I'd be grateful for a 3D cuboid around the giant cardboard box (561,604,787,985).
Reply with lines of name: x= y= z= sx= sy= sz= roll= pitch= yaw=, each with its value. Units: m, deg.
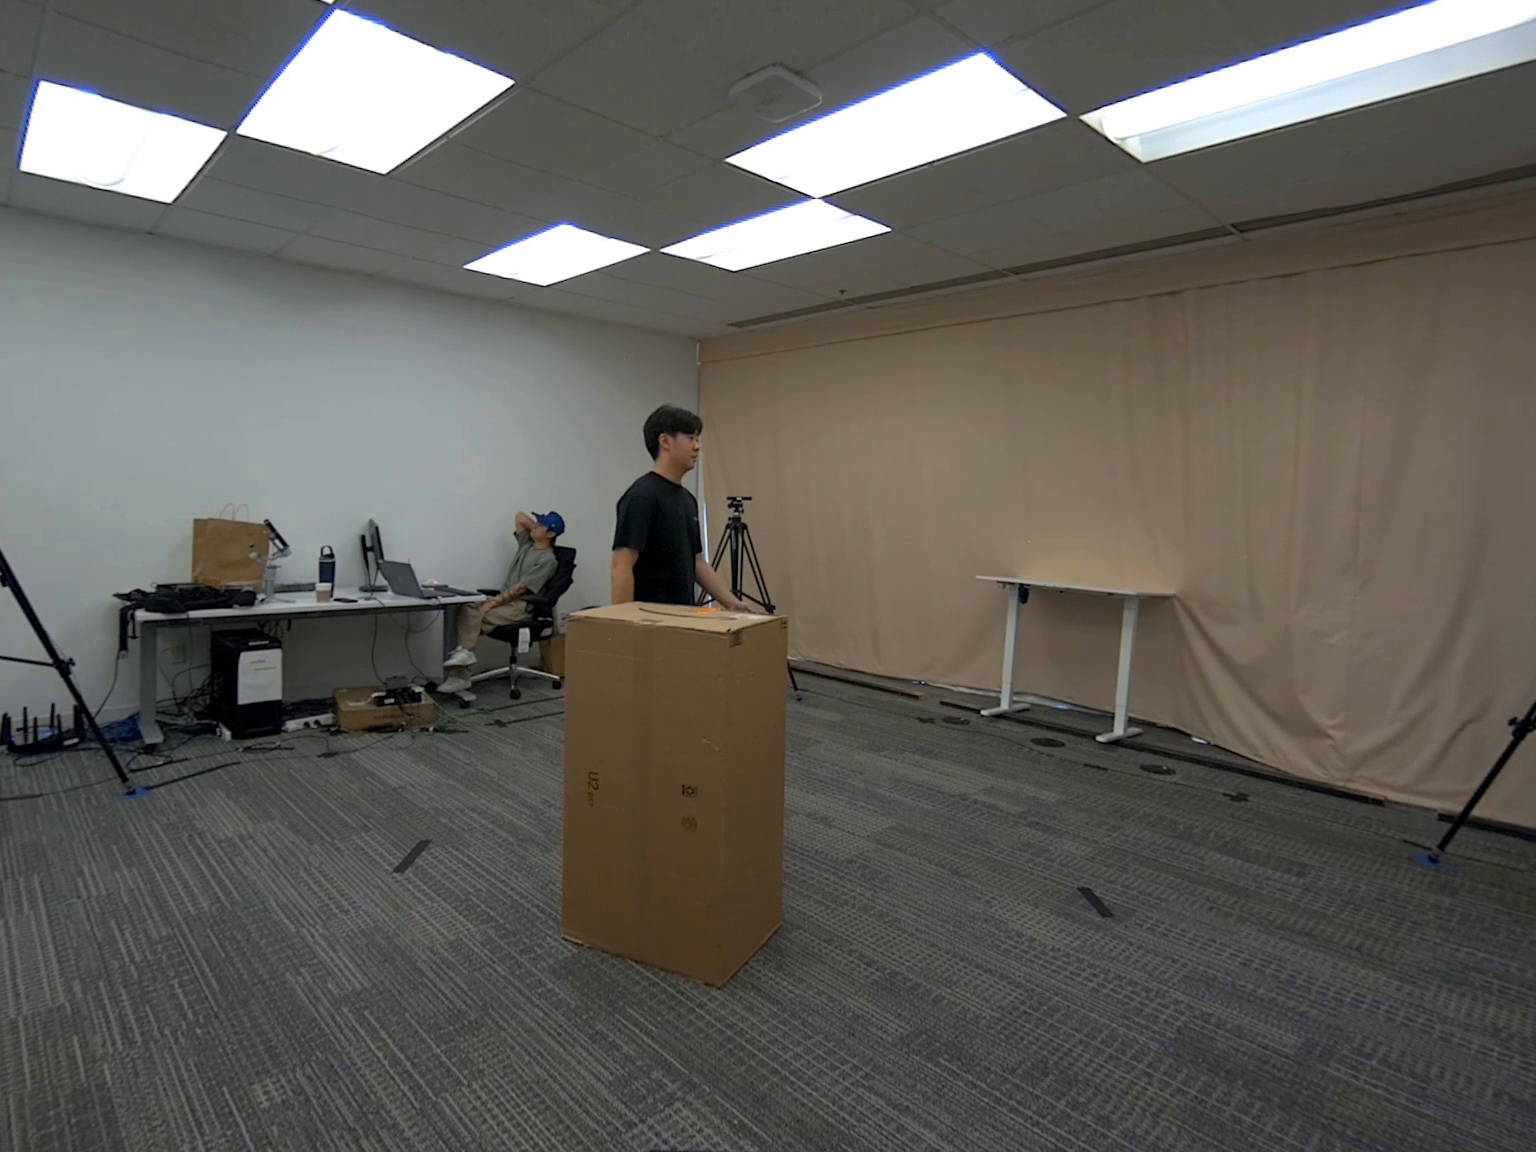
giant cardboard box: x=-0.292 y=0.631 z=2.676 sx=0.596 sy=1.025 sz=0.438 roll=3 pitch=3 yaw=28
